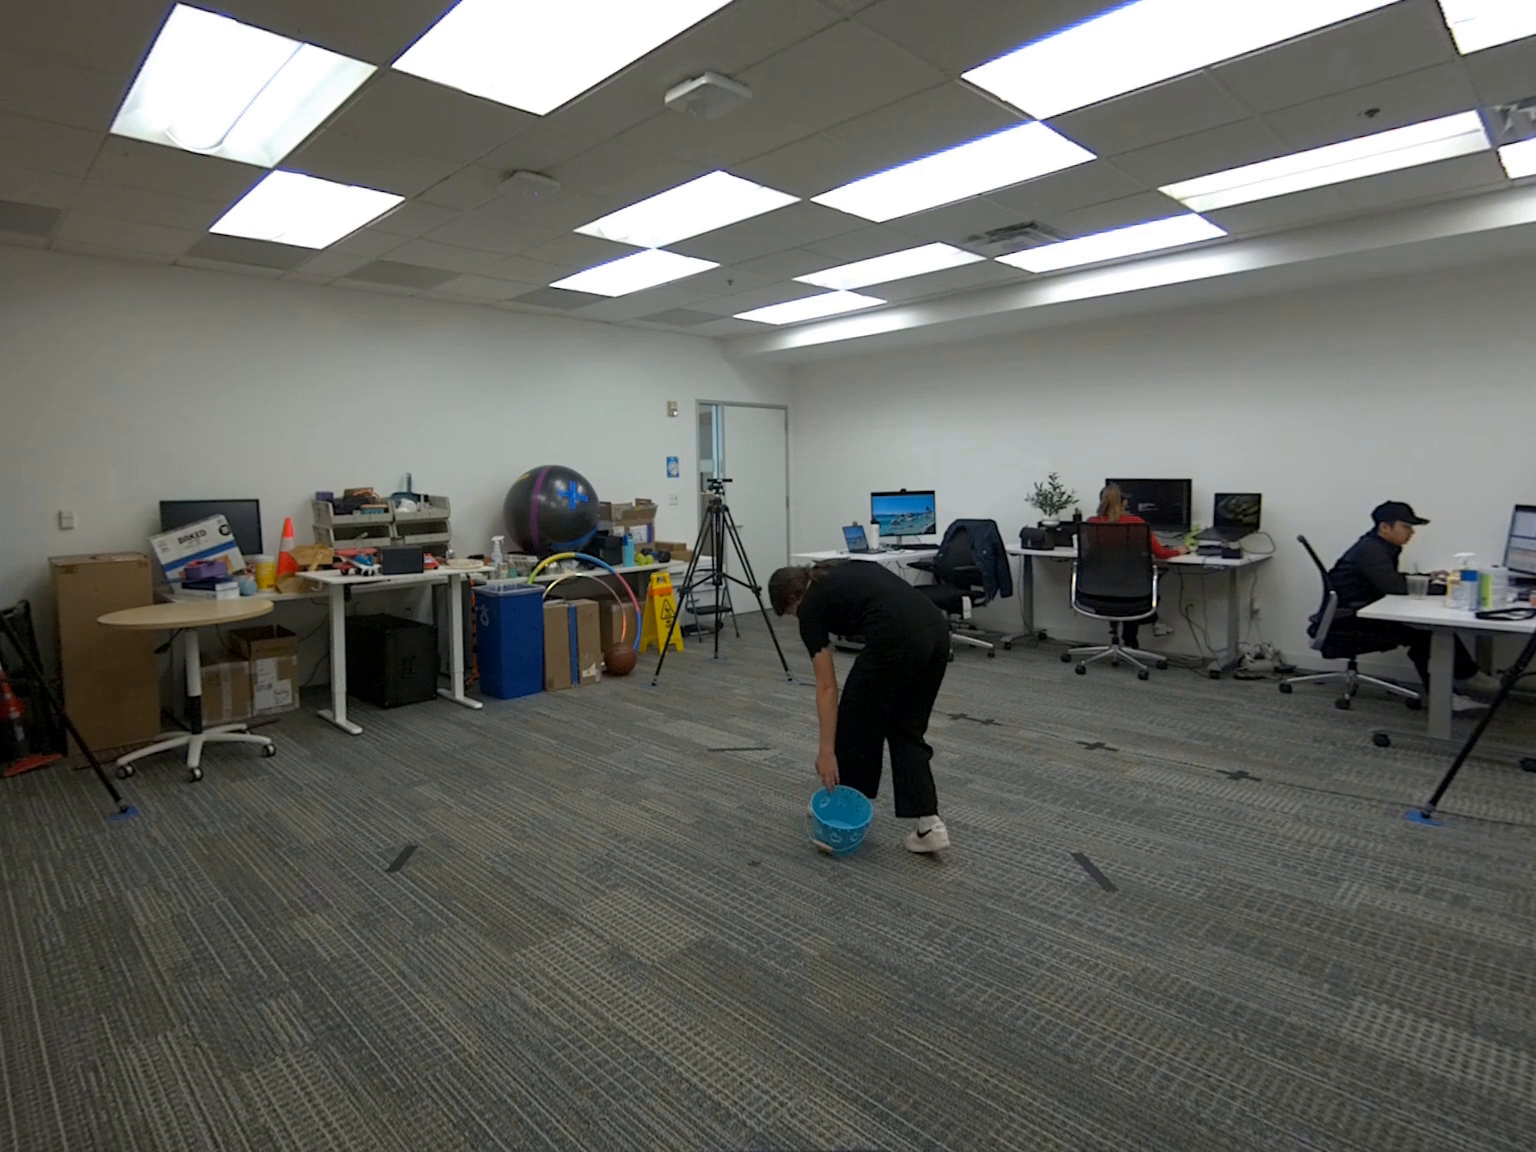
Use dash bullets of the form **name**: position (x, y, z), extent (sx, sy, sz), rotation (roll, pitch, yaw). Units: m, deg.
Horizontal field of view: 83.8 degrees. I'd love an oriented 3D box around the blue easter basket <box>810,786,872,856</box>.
- **blue easter basket**: position (0.274, 0.928, 3.210), extent (0.243, 0.153, 0.249), rotation (2, 26, -3)
